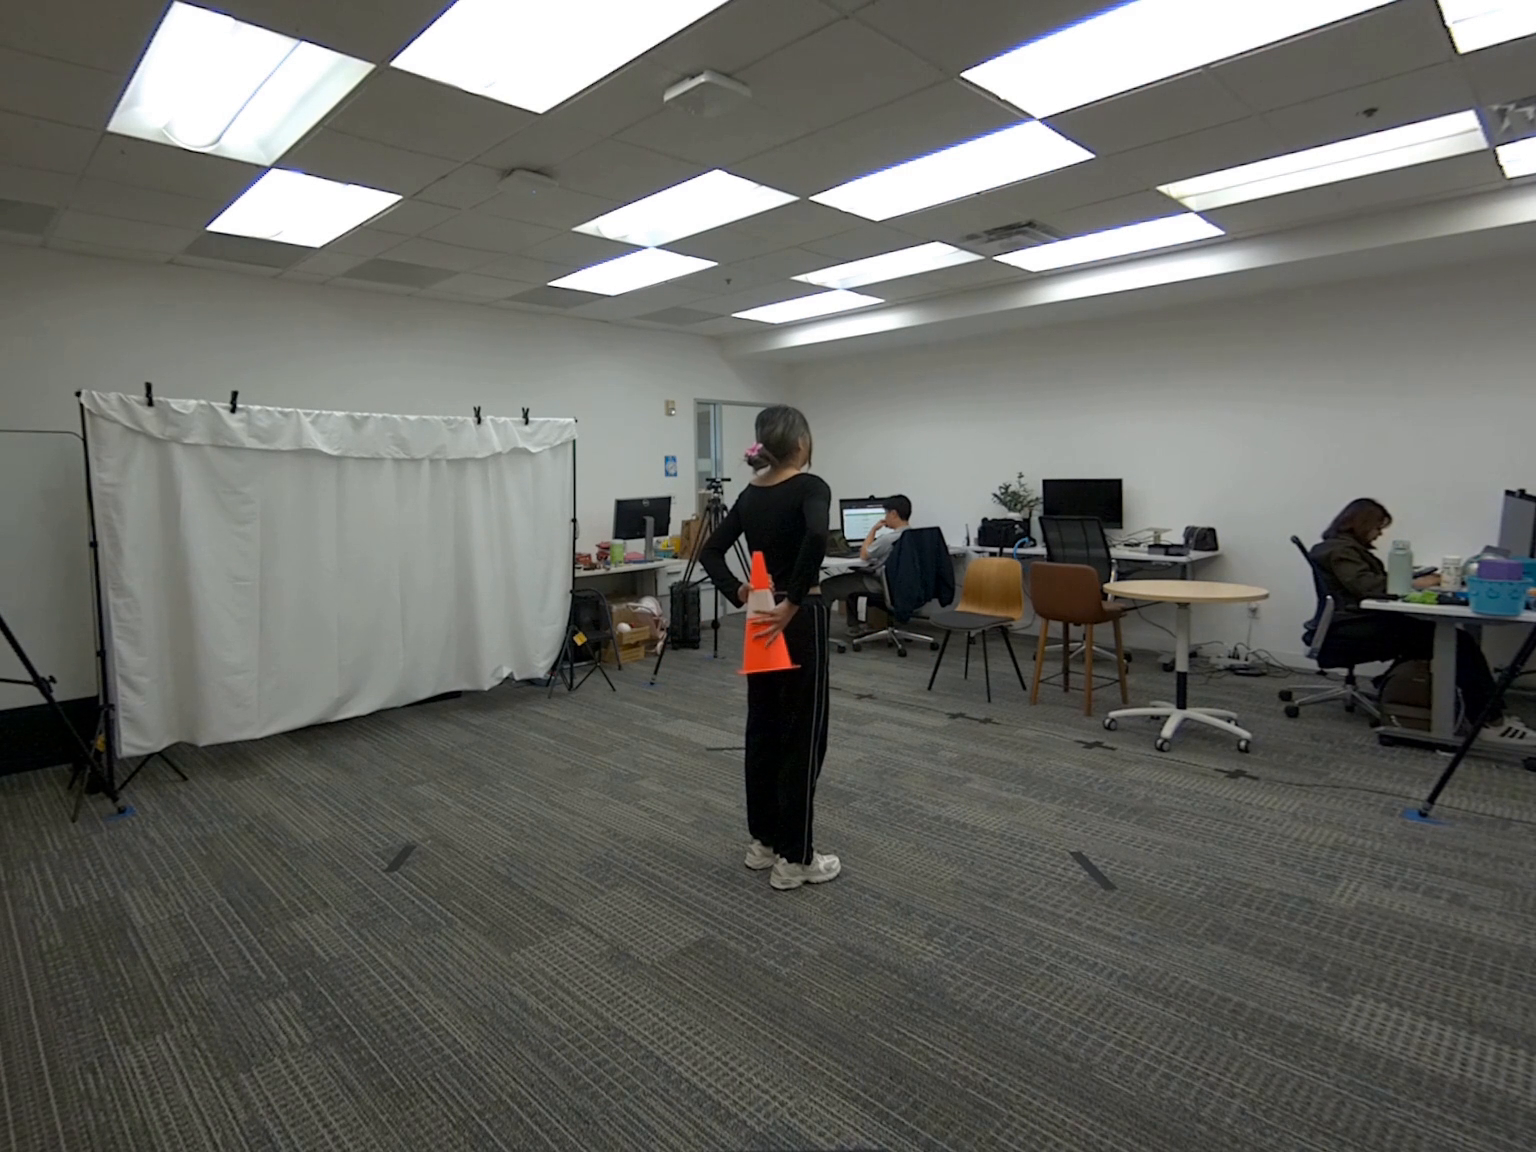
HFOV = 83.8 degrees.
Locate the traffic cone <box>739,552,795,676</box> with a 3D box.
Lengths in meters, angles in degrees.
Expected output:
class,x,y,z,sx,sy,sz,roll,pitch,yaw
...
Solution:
class,x,y,z,sx,sy,sz,roll,pitch,yaw
traffic cone,-0.022,0.113,2.780,0.202,0.385,0.205,-4,-3,-7
